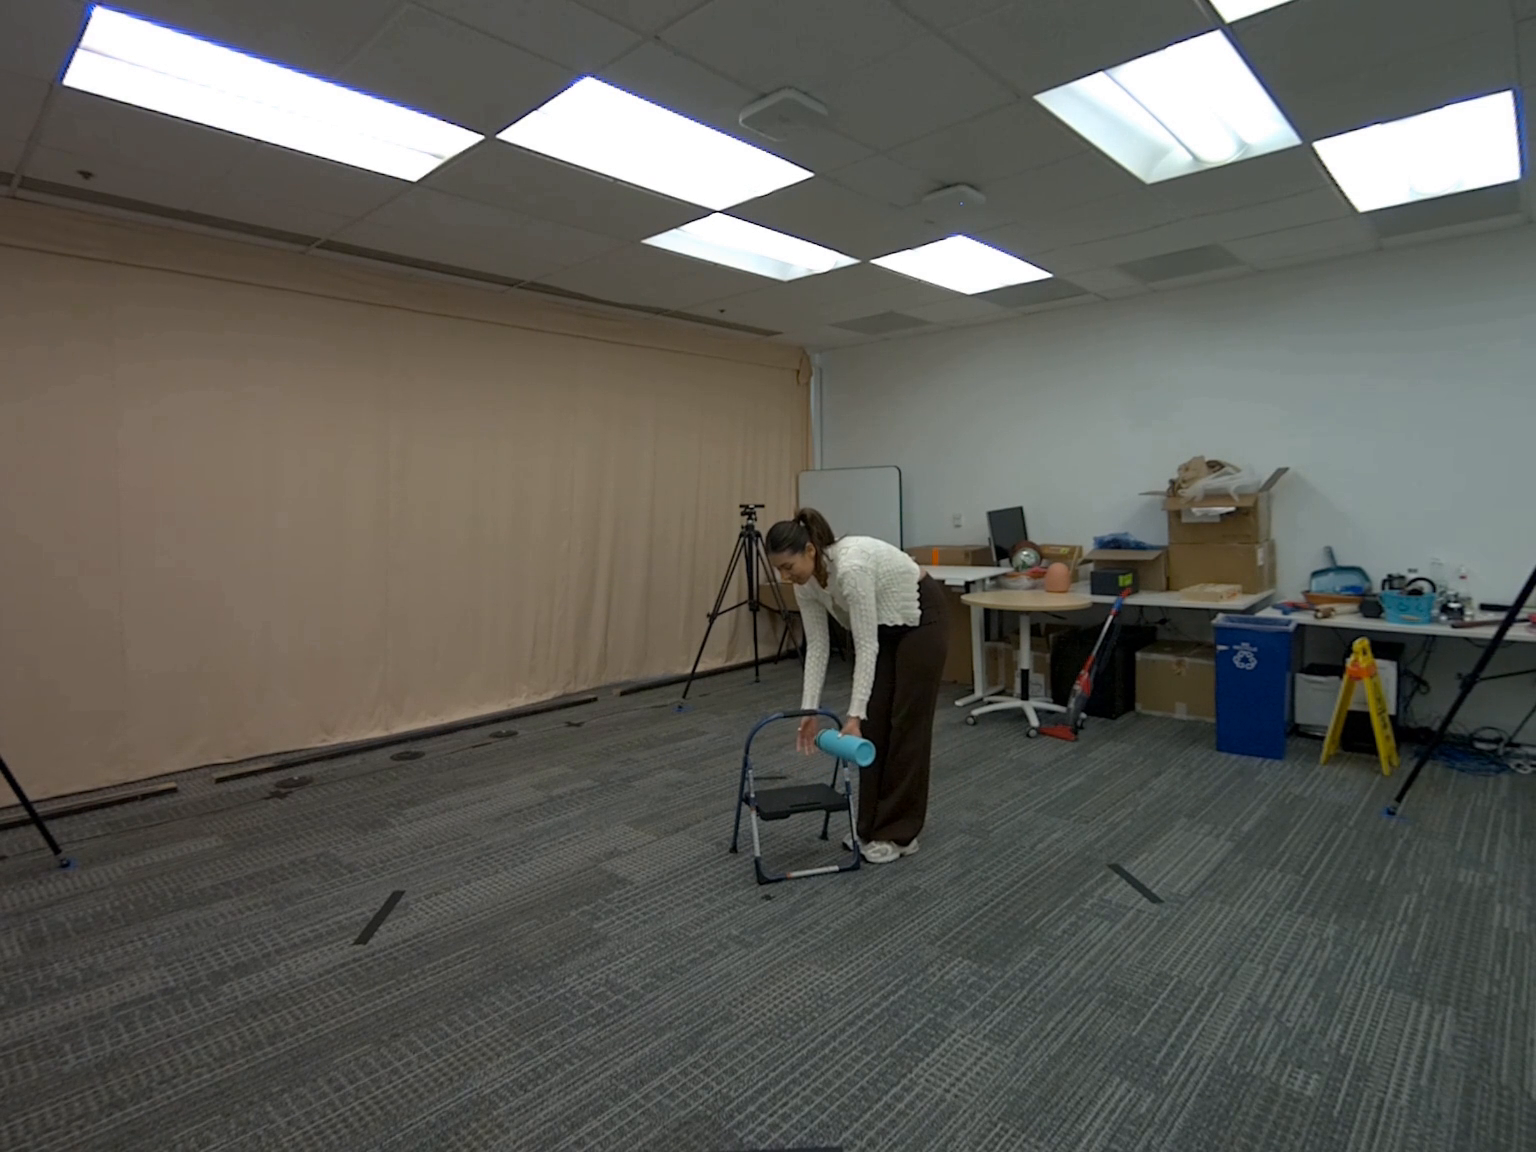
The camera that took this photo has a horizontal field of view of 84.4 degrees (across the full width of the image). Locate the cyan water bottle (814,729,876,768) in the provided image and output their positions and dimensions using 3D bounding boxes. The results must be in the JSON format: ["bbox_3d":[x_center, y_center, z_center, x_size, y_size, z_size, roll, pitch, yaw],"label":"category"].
[{"bbox_3d":[0.267,0.597,3.009,0.090,0.092,0.290,-3,3,-26],"label":"cyan water bottle"}]
